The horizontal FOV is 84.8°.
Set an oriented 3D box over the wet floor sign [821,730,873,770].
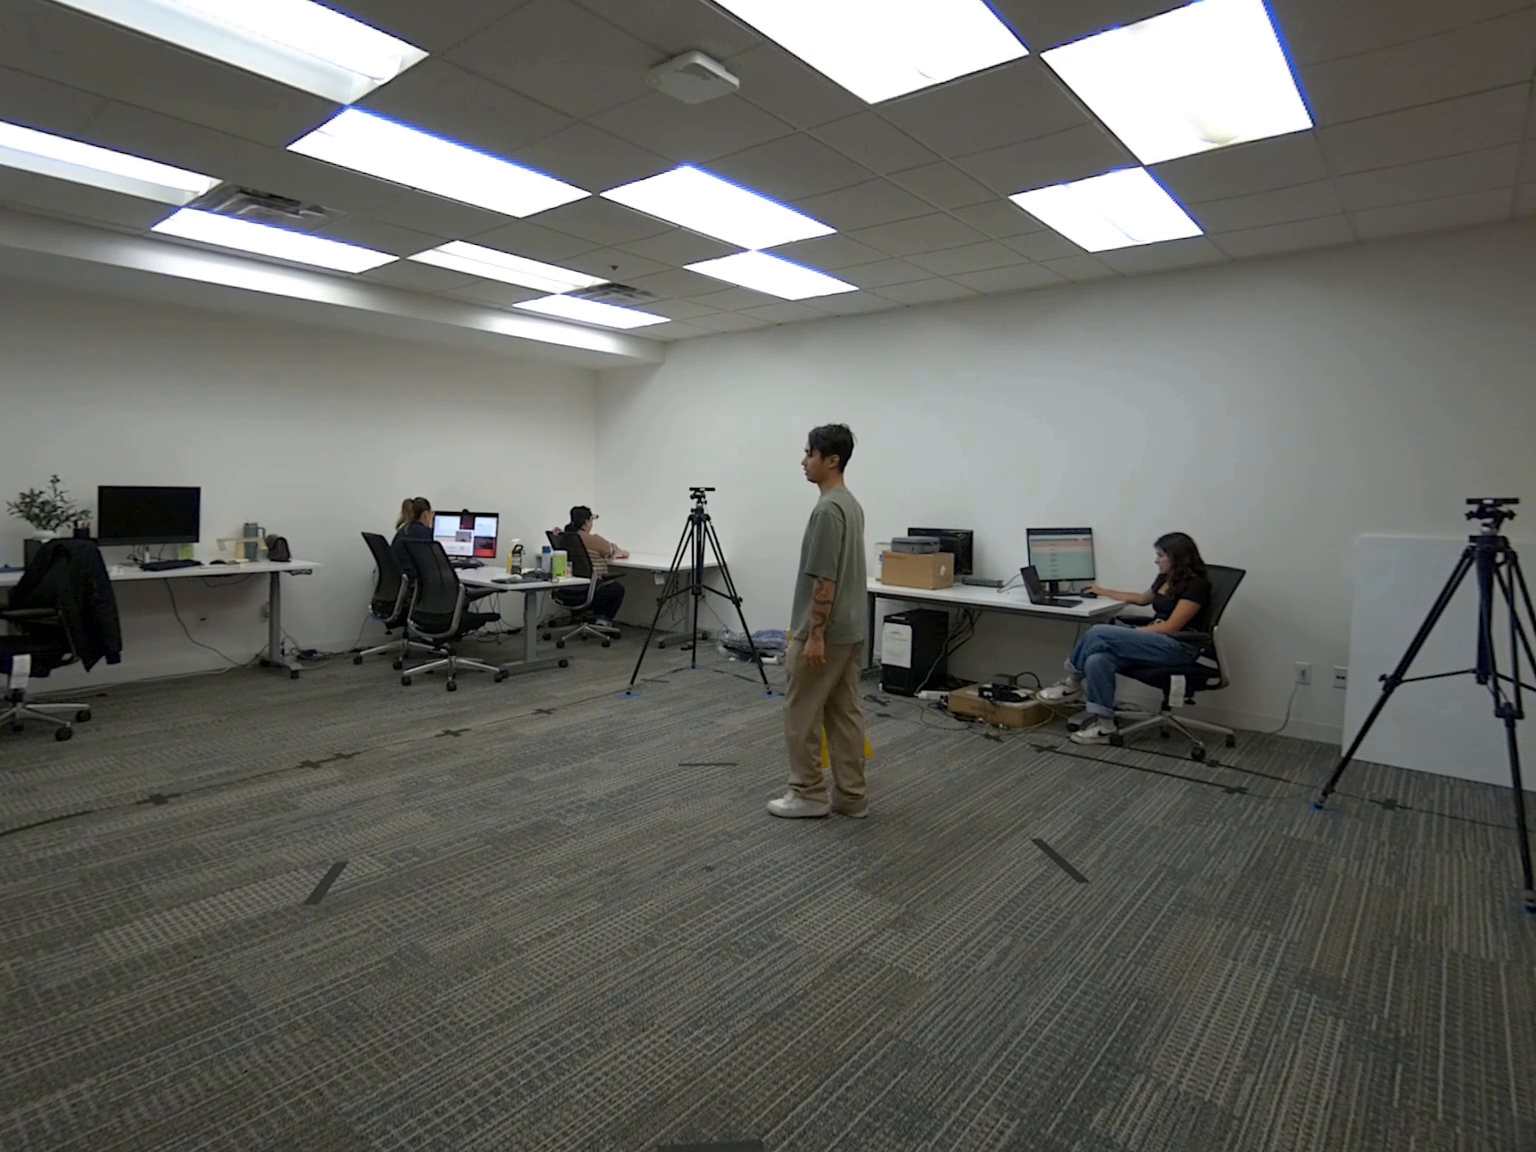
[{"bbox_3d":[0.252,0.526,3.987,0.283,0.641,0.291,-15,7,3],"label":"wet floor sign"}]
